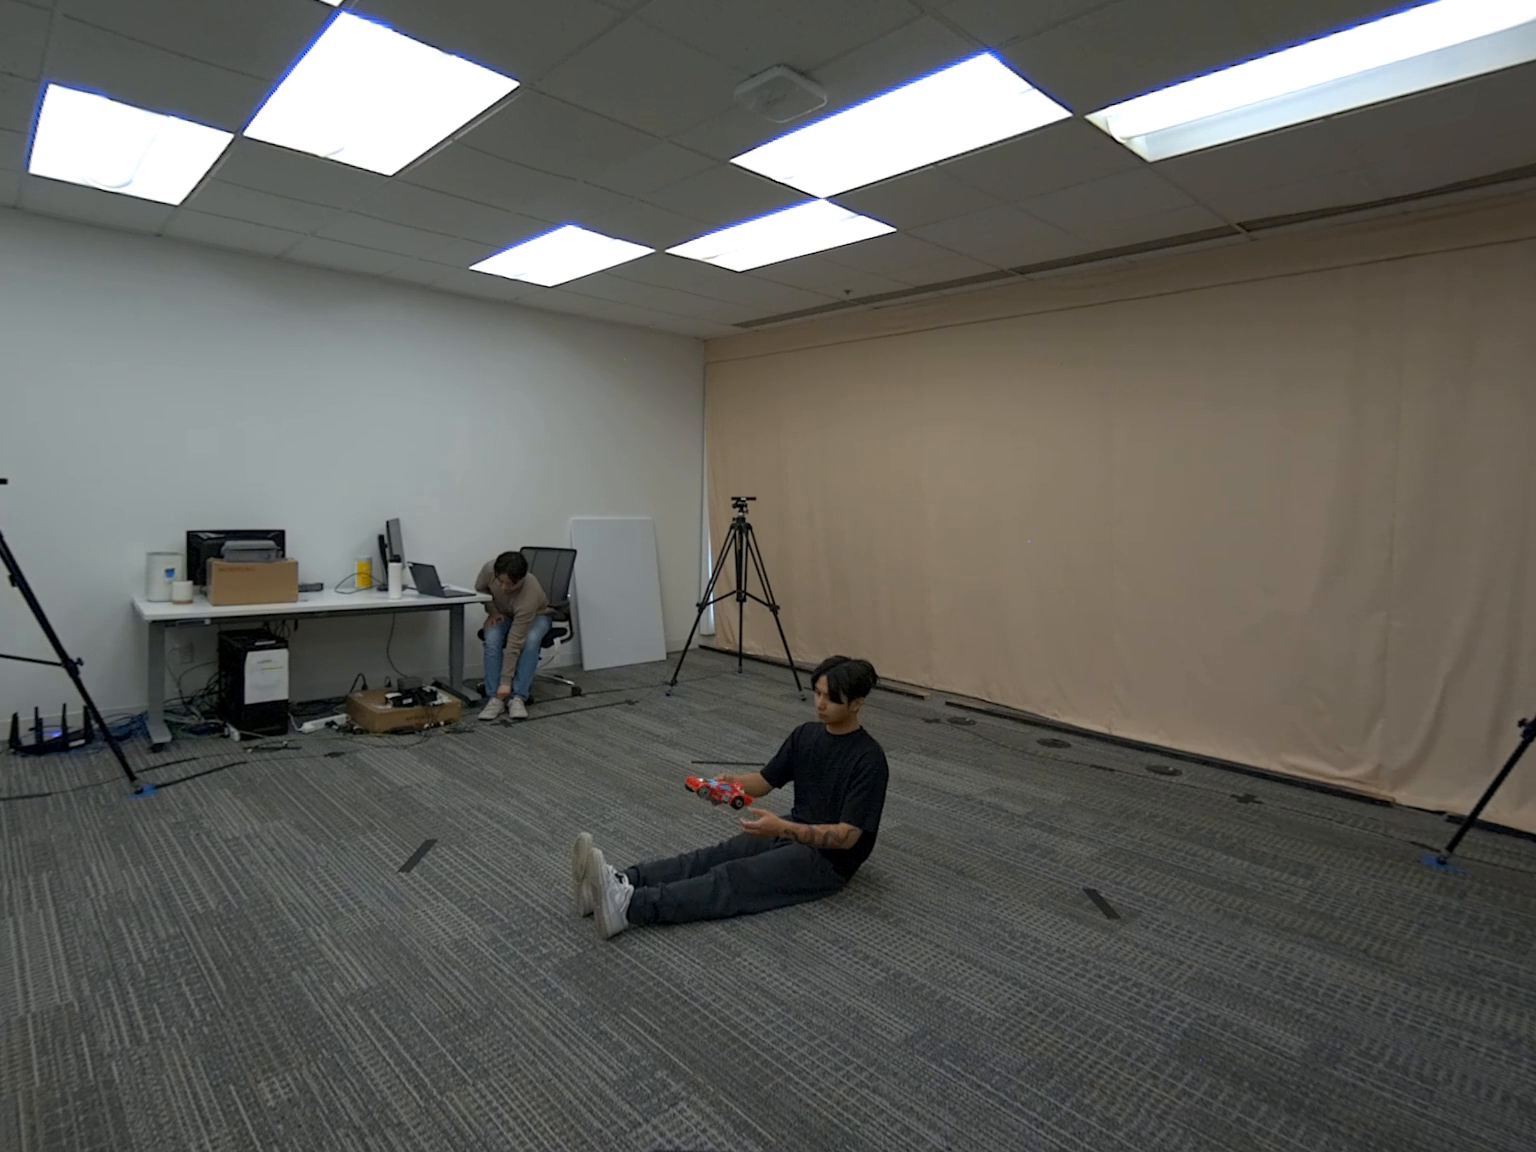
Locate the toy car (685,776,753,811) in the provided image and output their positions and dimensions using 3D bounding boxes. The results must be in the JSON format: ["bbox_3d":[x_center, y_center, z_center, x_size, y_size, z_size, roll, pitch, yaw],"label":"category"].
[{"bbox_3d":[-0.162,0.769,2.961,0.248,0.083,0.133,15,-7,-29],"label":"toy car"}]
